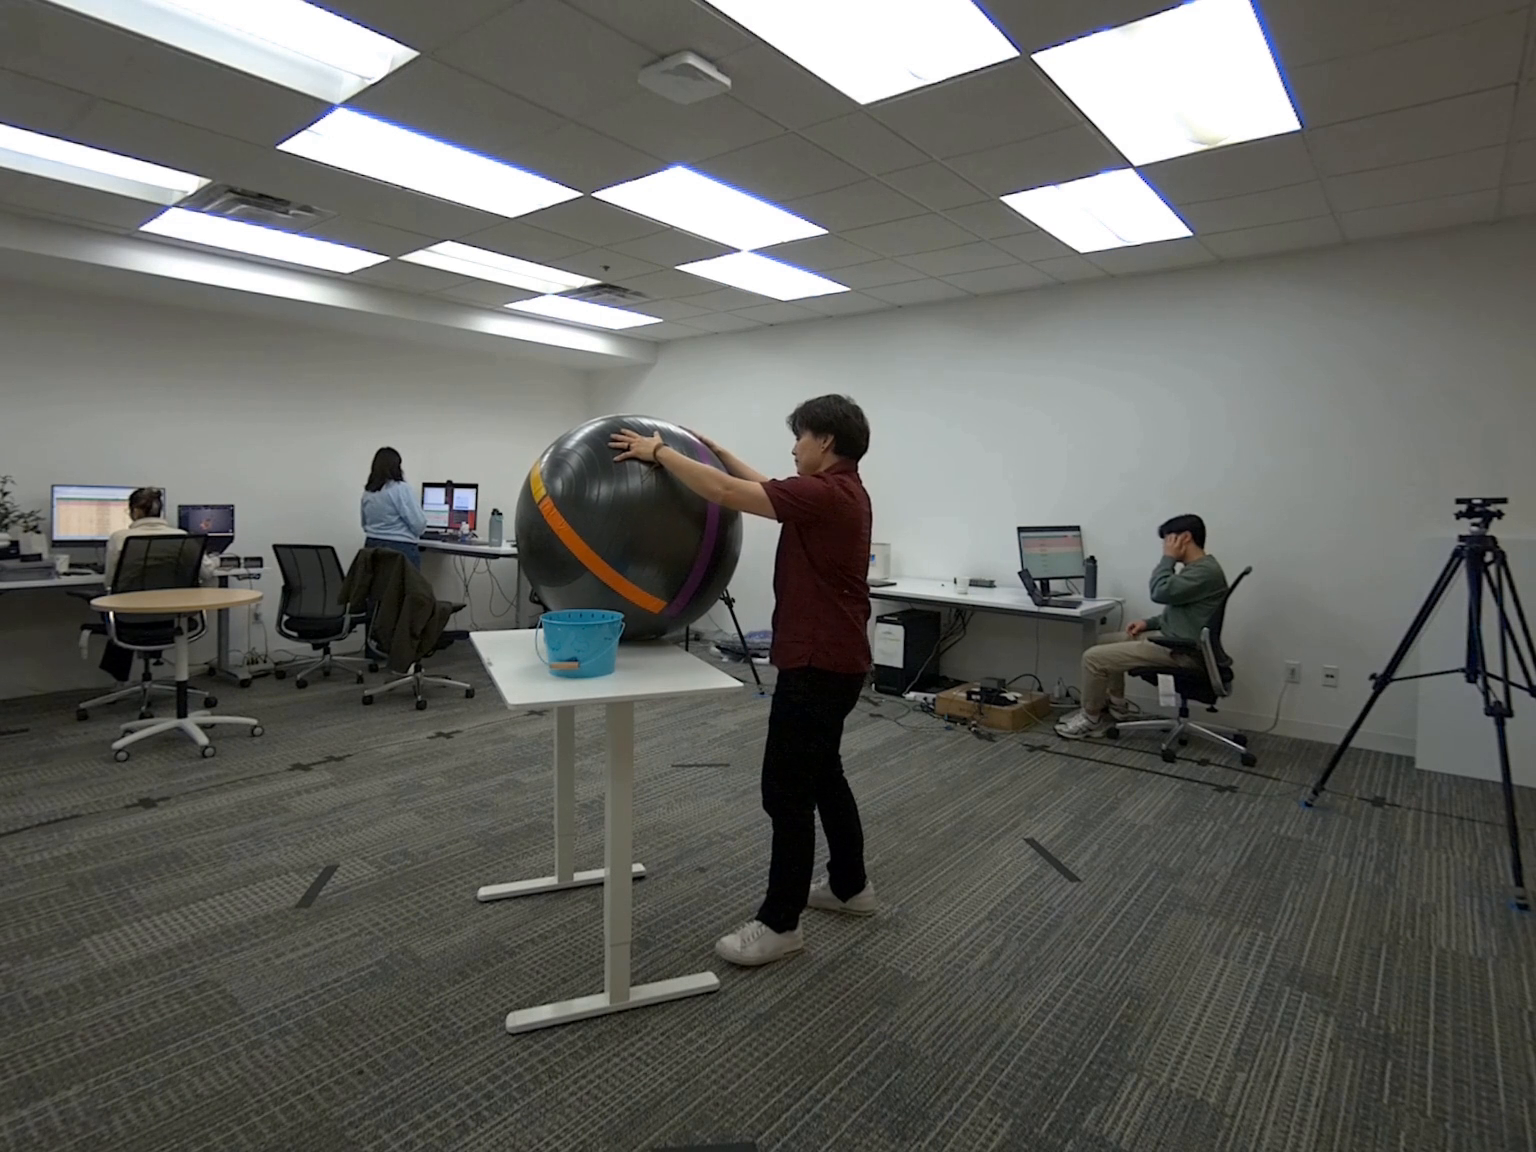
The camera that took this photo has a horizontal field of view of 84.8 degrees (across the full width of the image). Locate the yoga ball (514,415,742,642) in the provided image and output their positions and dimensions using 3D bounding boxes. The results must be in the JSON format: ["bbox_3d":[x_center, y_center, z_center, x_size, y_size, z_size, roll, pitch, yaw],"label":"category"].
[{"bbox_3d":[-0.477,-0.155,2.856,0.757,0.756,0.762,1,4,-2],"label":"yoga ball"}]
